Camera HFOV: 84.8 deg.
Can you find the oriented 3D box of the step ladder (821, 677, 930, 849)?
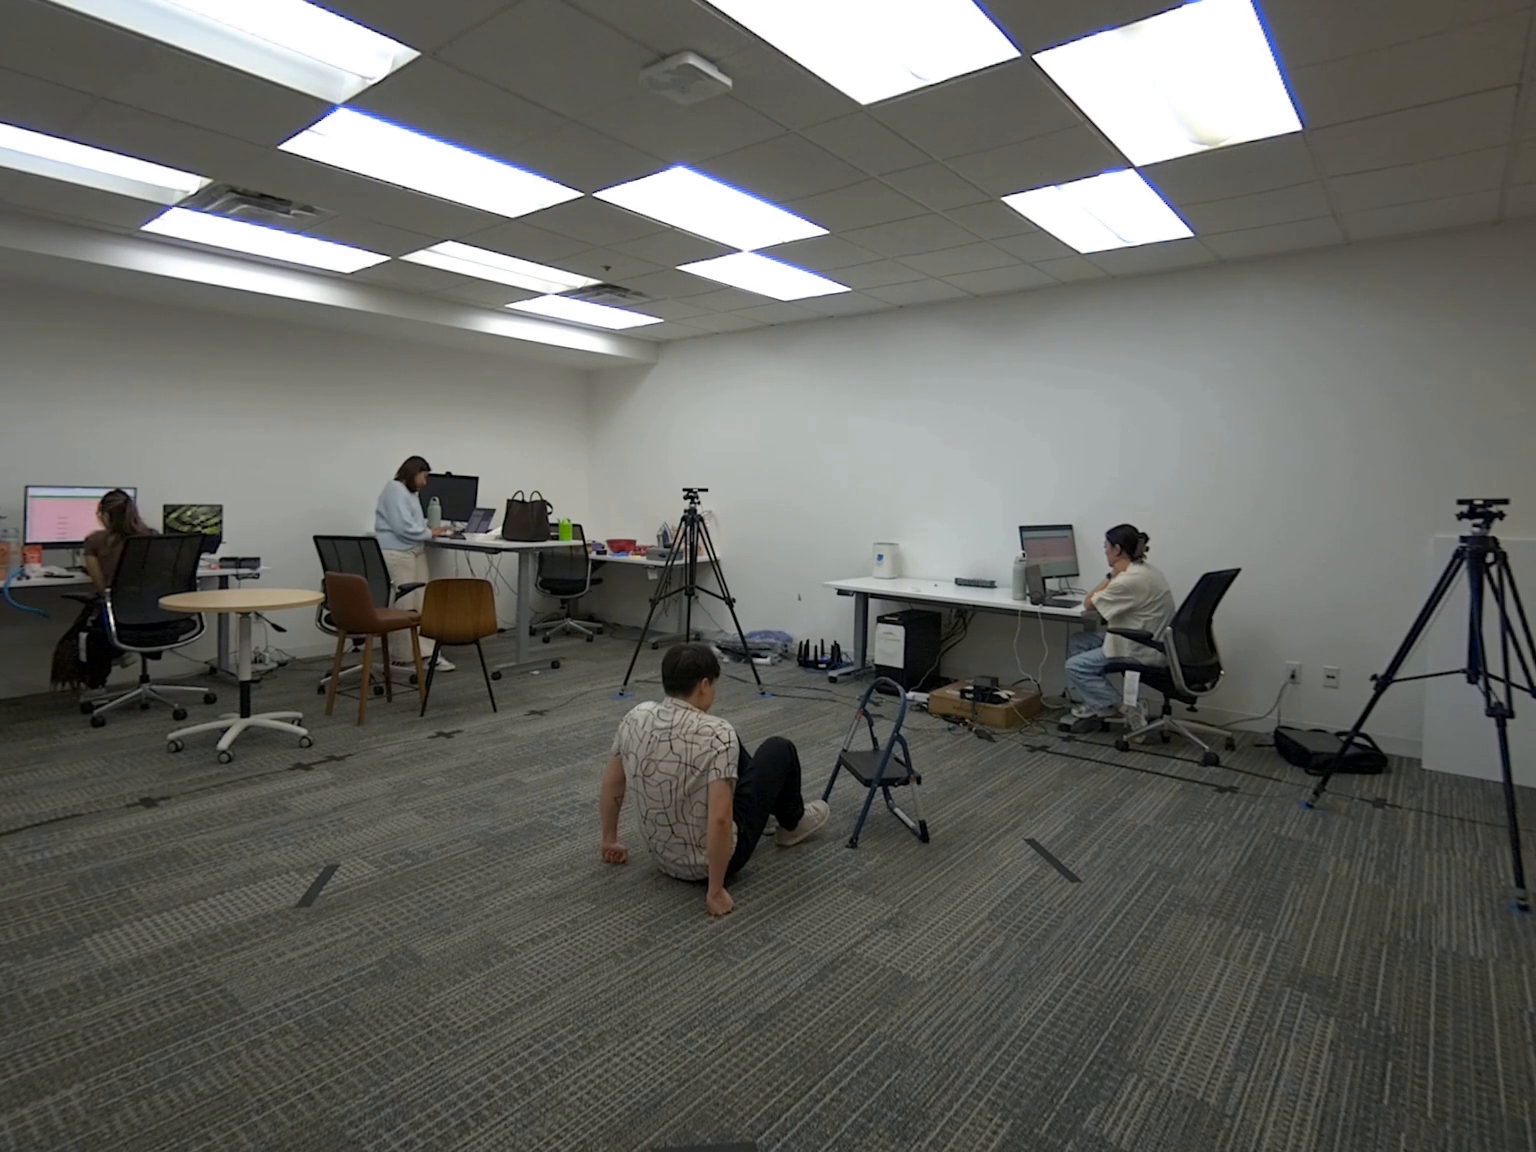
[{"bbox_3d":[0.434,0.741,3.552,0.345,0.604,0.438,0,4,-13],"label":"step ladder"}]
